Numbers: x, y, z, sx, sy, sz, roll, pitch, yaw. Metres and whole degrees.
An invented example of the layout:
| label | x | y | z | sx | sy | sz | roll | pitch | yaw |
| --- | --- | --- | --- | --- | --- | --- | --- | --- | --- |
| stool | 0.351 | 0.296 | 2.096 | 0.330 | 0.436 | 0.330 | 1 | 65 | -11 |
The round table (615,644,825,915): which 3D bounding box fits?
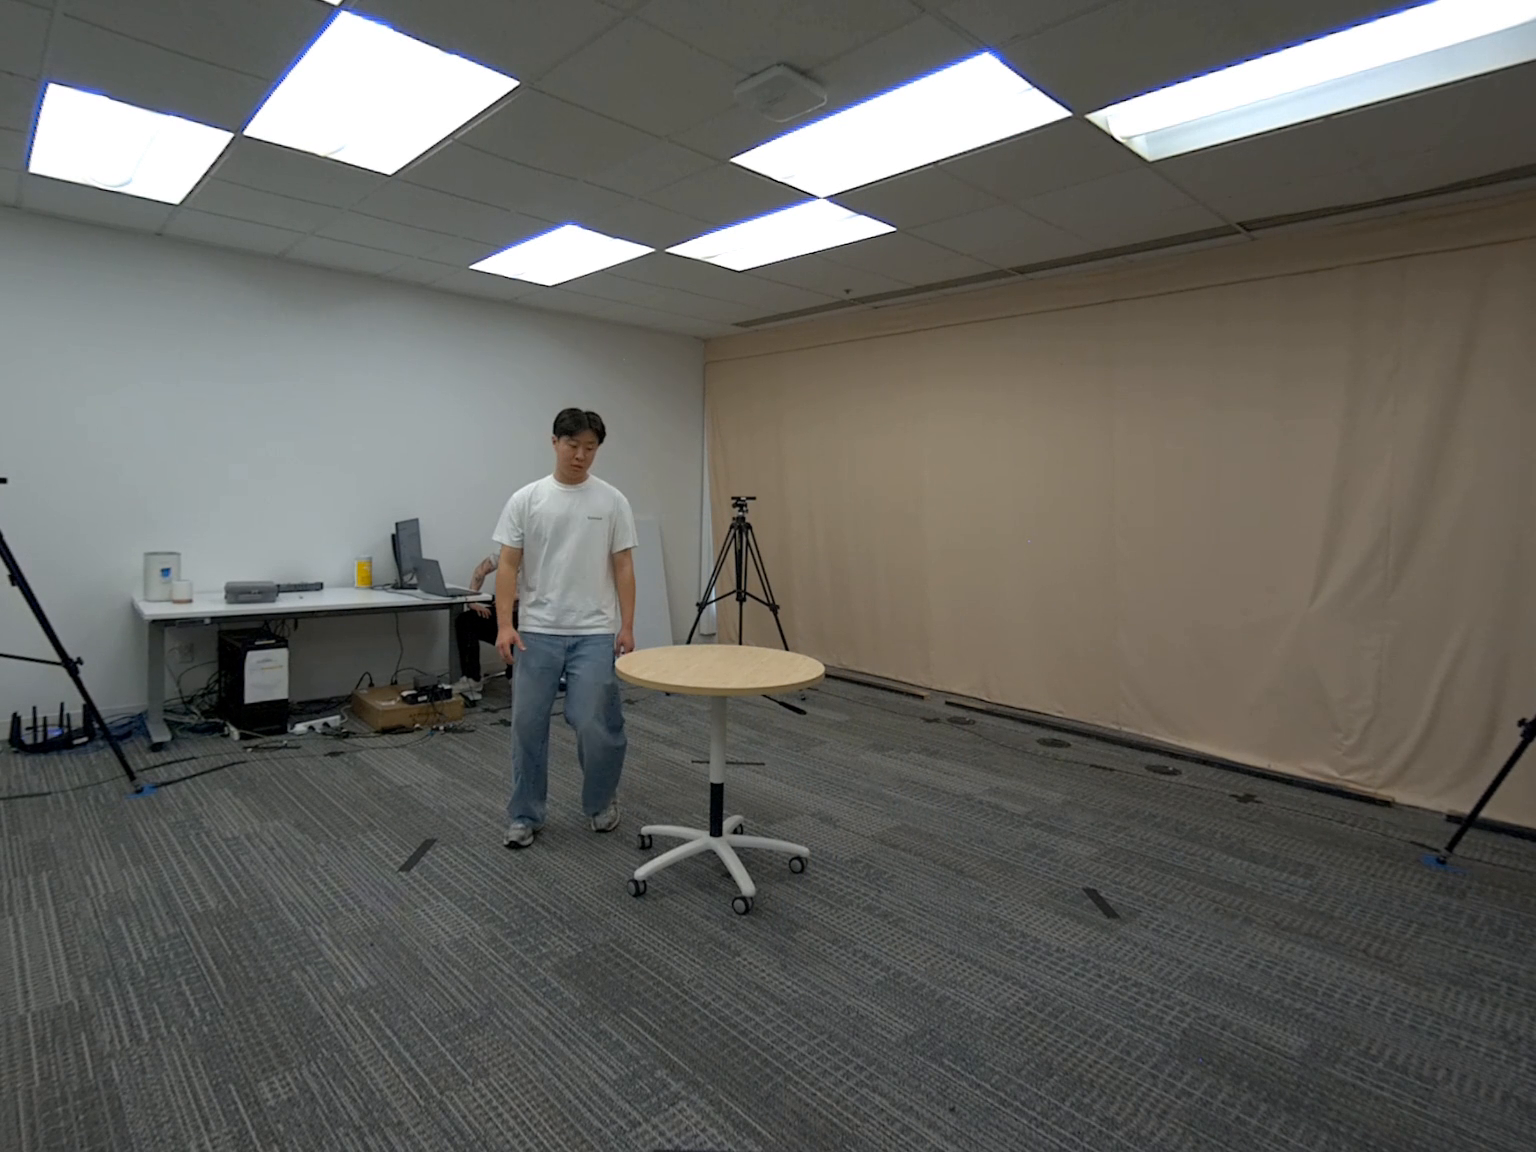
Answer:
| label | x | y | z | sx | sy | sz | roll | pitch | yaw |
| --- | --- | --- | --- | --- | --- | --- | --- | --- | --- |
| round table | -0.191 | 0.716 | 3.105 | 0.763 | 0.792 | 0.767 | 1 | 4 | -1 |
